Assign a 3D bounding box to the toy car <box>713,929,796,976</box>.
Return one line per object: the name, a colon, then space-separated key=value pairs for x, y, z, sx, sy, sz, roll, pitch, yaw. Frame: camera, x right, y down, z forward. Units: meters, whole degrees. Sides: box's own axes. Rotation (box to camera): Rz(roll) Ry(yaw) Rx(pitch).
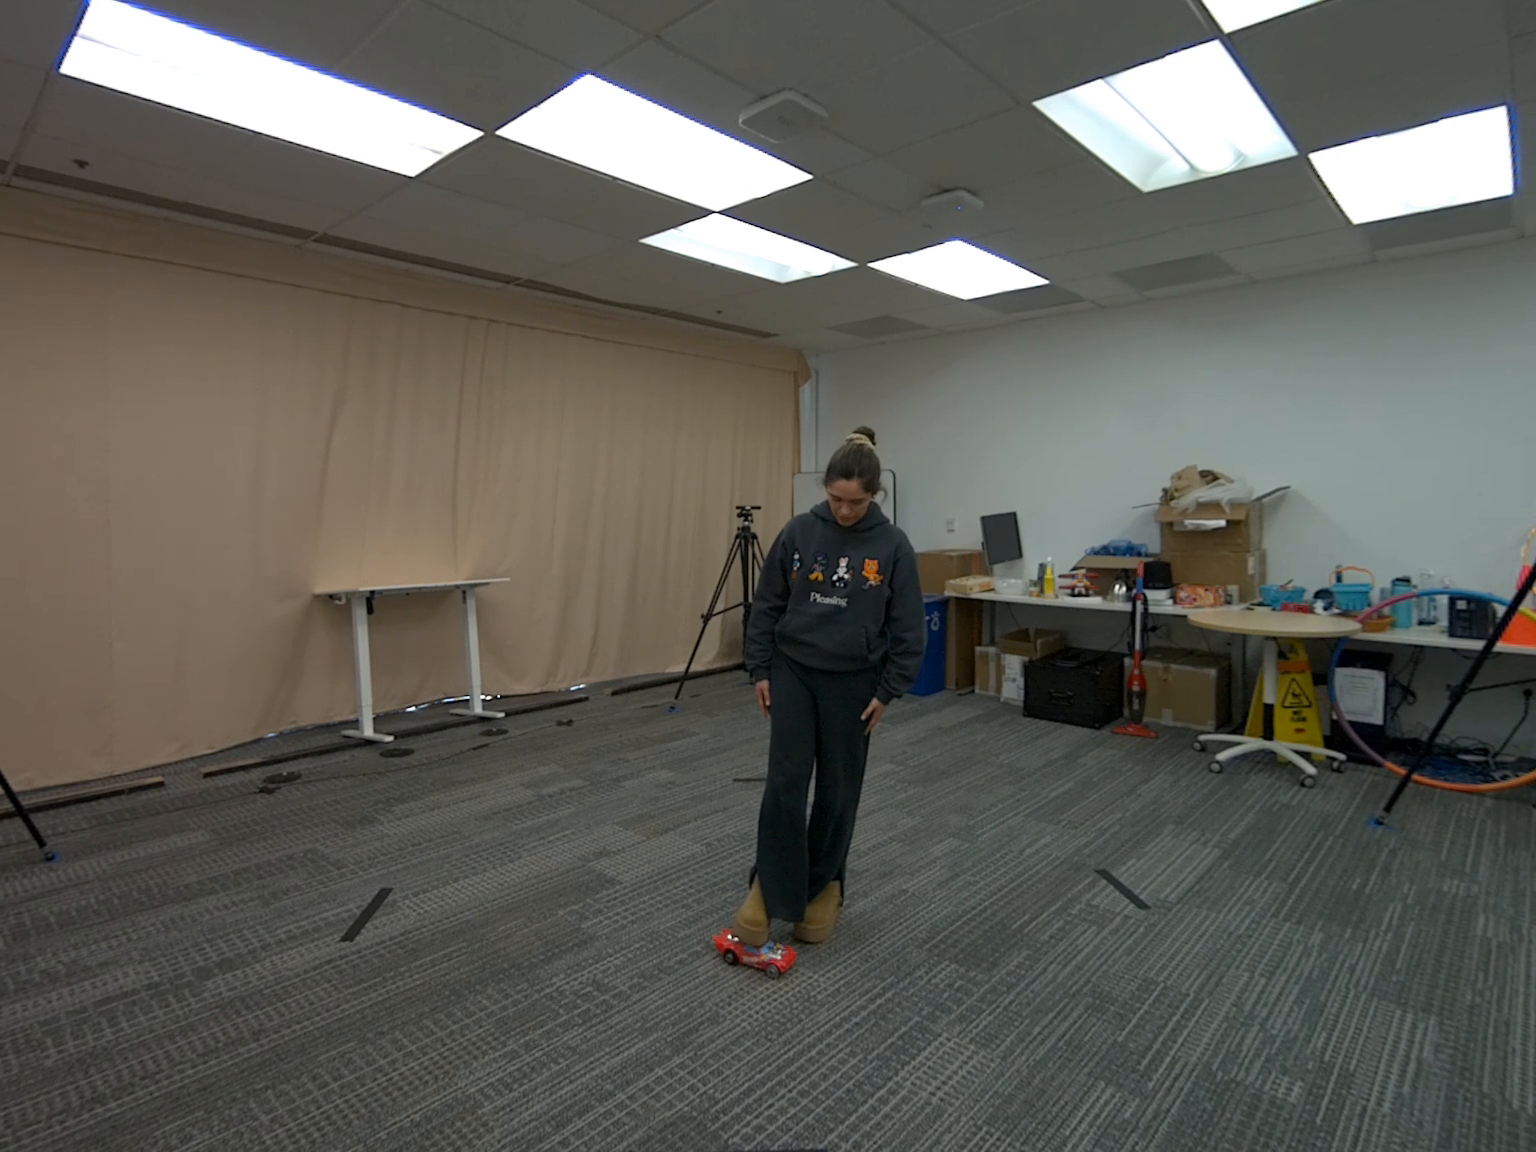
toy car: x=-0.024 y=1.147 z=2.570 sx=0.262 sy=0.083 sz=0.127 roll=13 pitch=10 yaw=30
